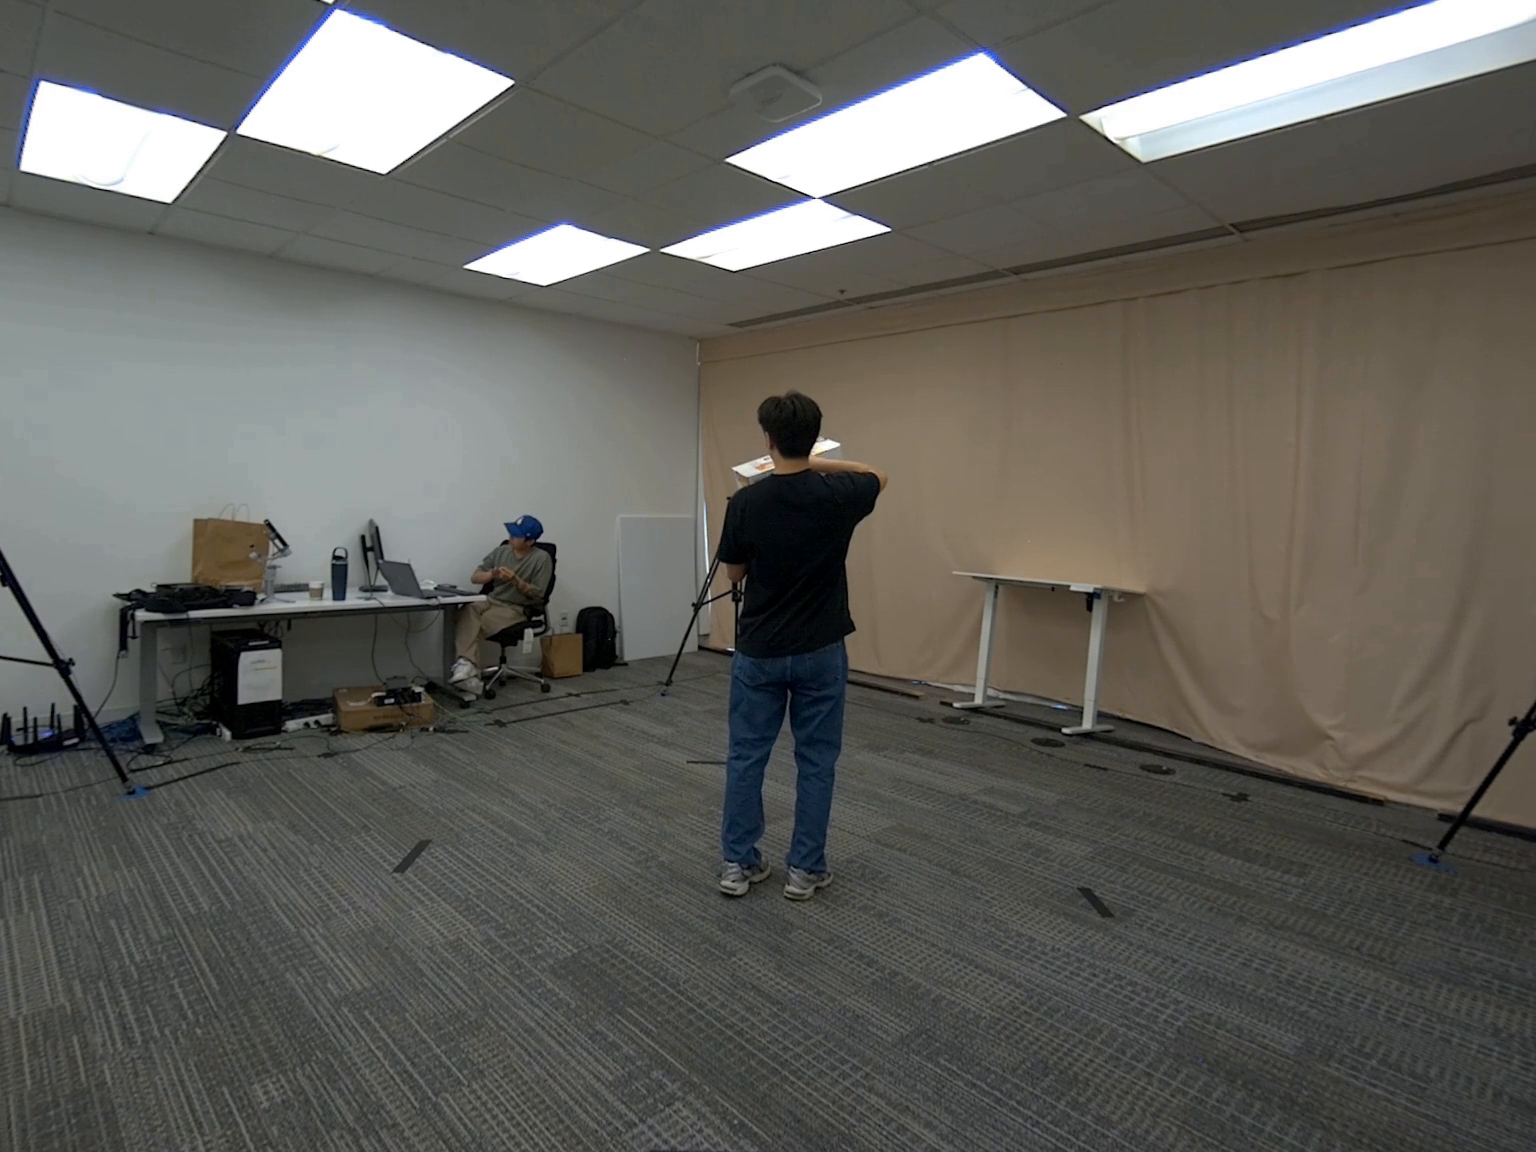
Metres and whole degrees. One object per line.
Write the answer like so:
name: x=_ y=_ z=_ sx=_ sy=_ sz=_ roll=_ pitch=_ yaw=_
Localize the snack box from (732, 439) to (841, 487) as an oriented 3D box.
snack box: x=0.119 y=-0.319 z=3.395 sx=0.403 sy=0.334 sz=0.210 roll=-20 pitch=20 yaw=-11
